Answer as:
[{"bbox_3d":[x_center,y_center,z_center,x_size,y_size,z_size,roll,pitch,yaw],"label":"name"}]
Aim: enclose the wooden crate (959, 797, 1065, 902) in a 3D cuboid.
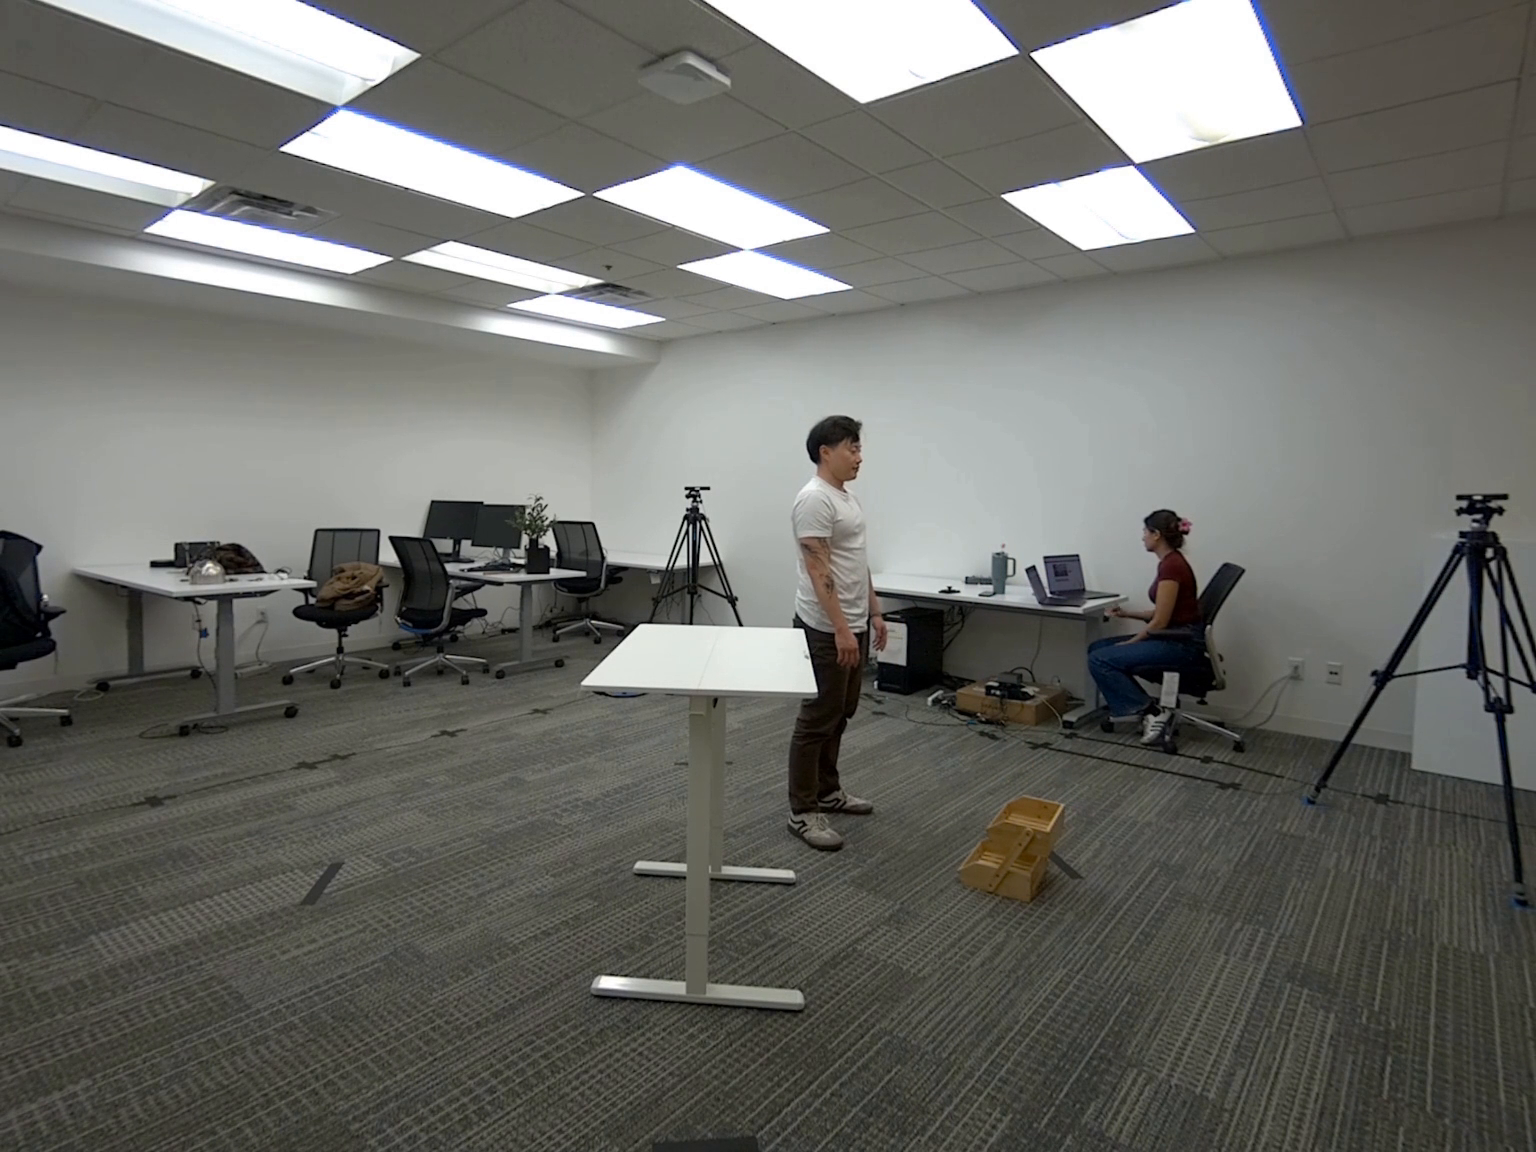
[{"bbox_3d":[0.871,0.953,3.070,0.311,0.272,0.316,5,6,30],"label":"wooden crate"}]
